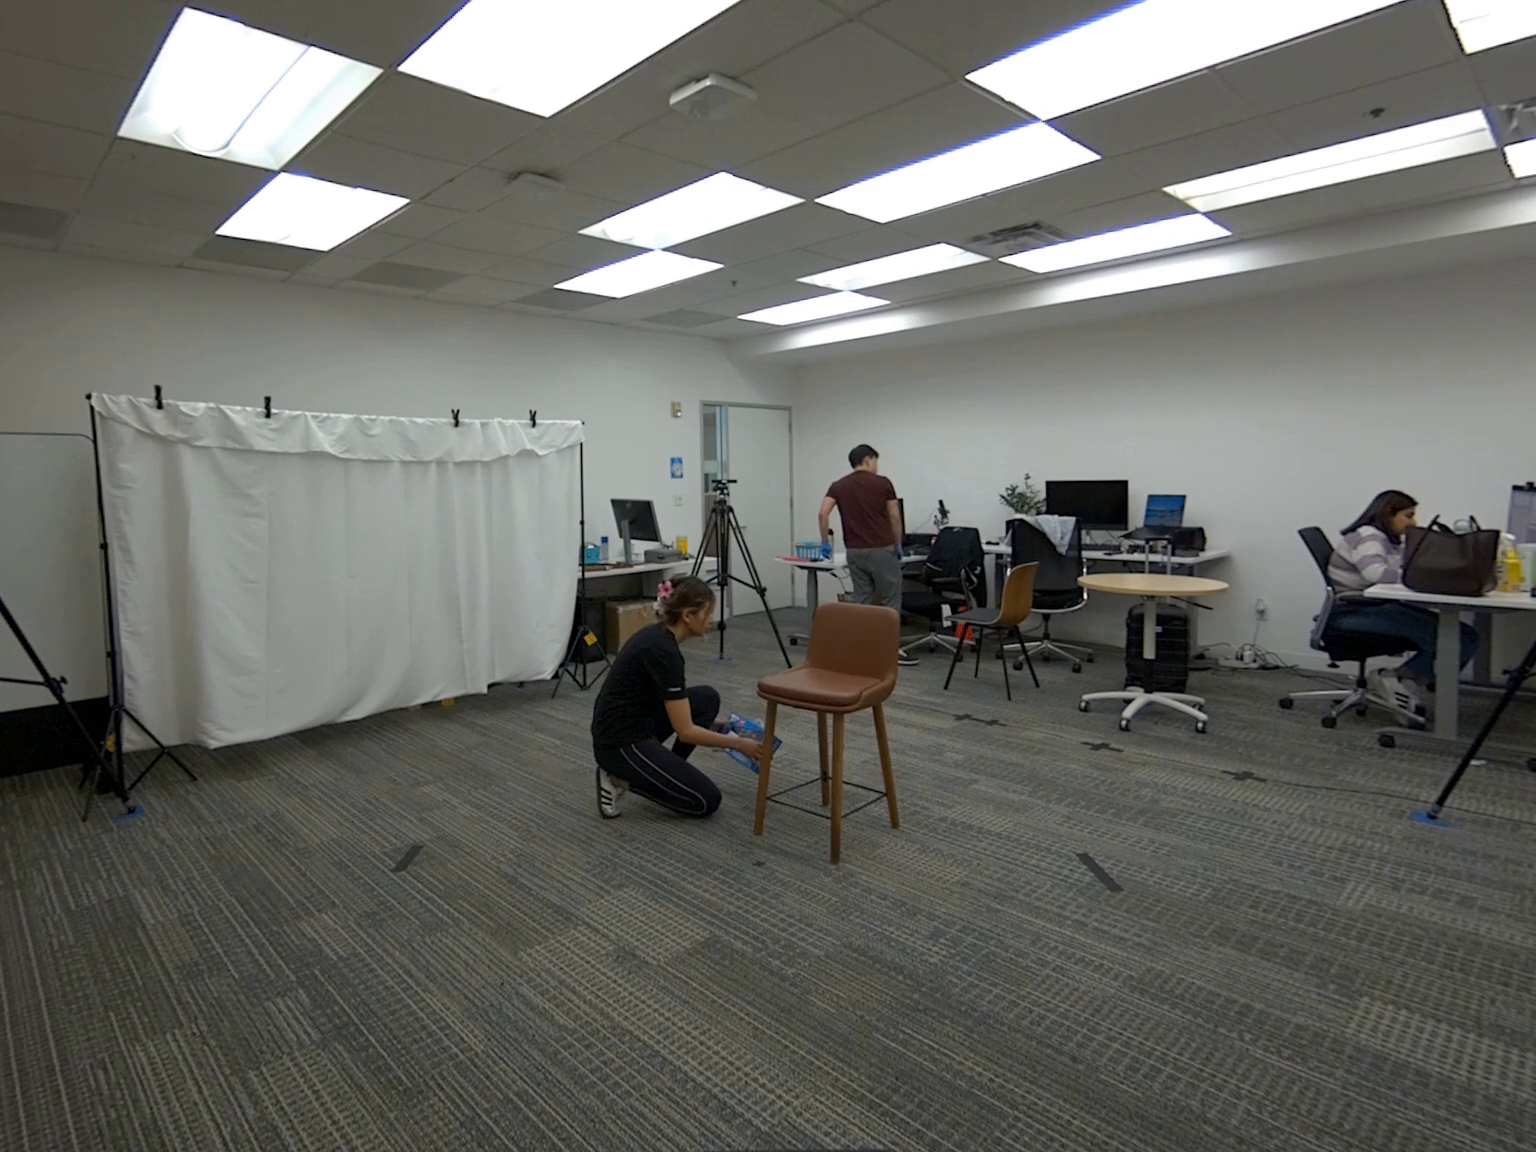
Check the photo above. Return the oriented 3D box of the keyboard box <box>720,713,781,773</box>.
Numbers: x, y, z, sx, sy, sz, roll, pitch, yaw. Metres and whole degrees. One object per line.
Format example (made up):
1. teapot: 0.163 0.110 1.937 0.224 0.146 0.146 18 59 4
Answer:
1. keyboard box: -0.103 0.738 3.798 0.057 0.176 0.447 43 -13 -22
